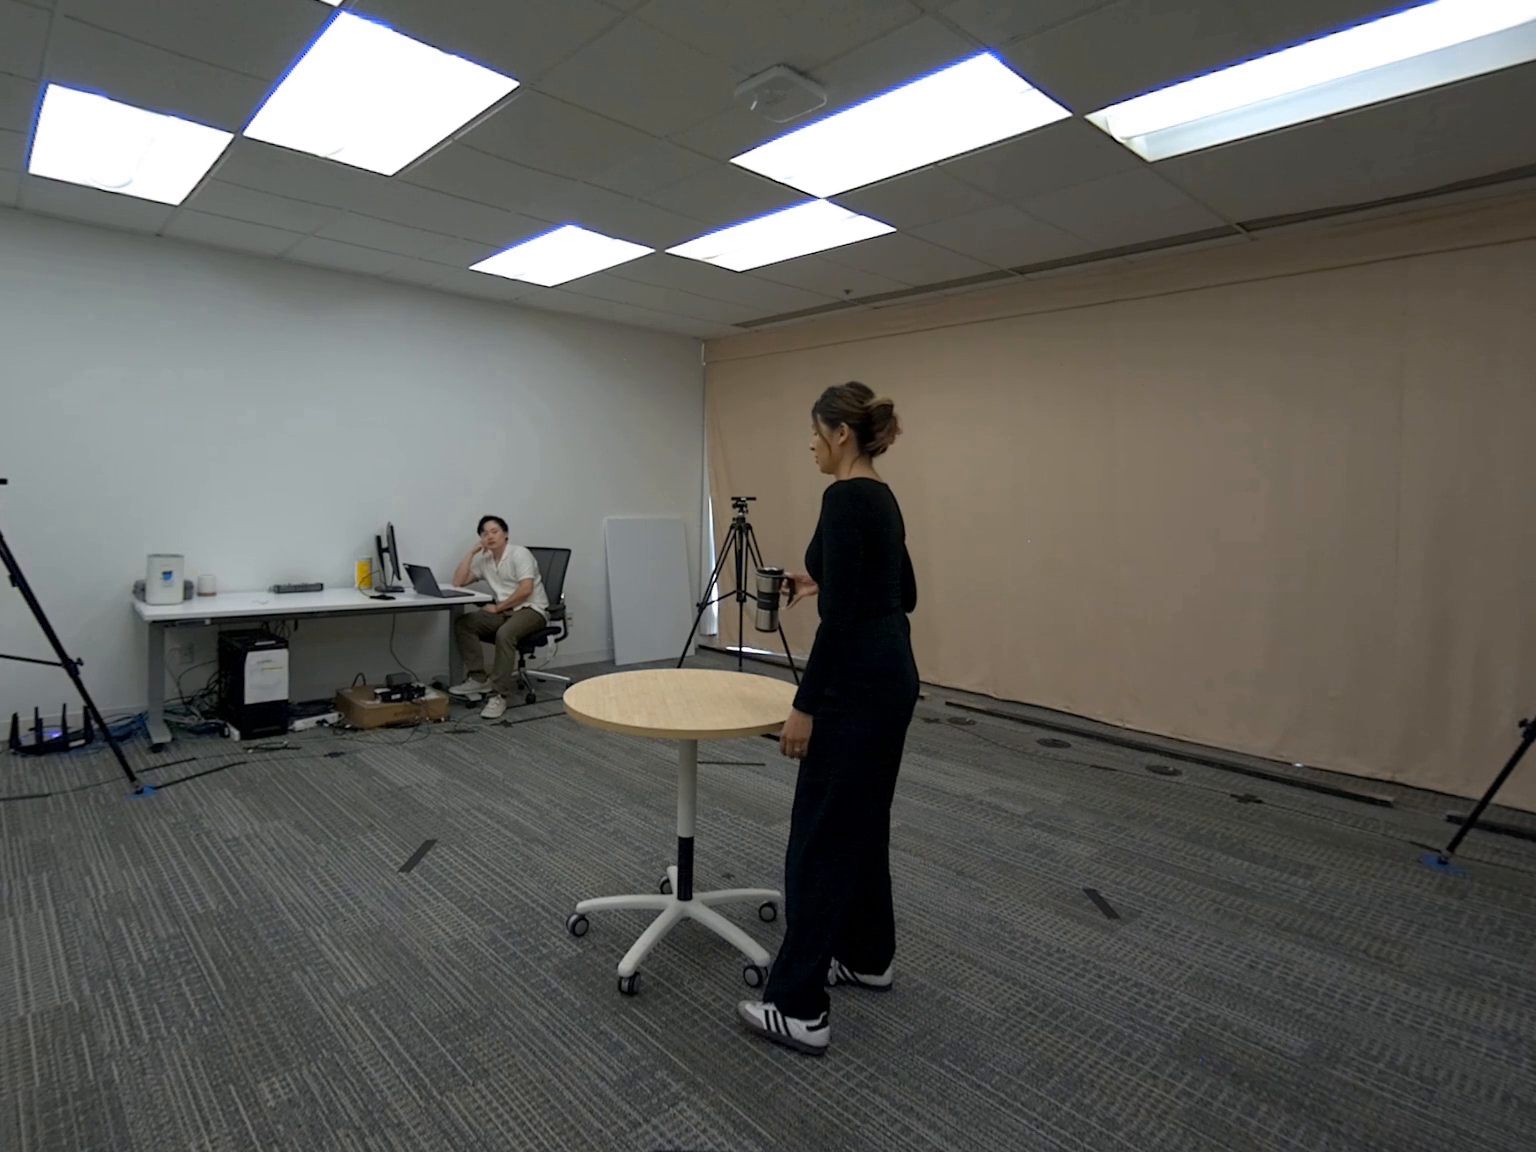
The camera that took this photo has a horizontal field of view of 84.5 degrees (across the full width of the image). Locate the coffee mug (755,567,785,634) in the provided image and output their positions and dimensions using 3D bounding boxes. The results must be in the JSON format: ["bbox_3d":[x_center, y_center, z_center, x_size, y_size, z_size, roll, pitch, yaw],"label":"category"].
[{"bbox_3d":[0.002,0.076,2.627,0.086,0.202,0.125,-3,11,-45],"label":"coffee mug"}]
